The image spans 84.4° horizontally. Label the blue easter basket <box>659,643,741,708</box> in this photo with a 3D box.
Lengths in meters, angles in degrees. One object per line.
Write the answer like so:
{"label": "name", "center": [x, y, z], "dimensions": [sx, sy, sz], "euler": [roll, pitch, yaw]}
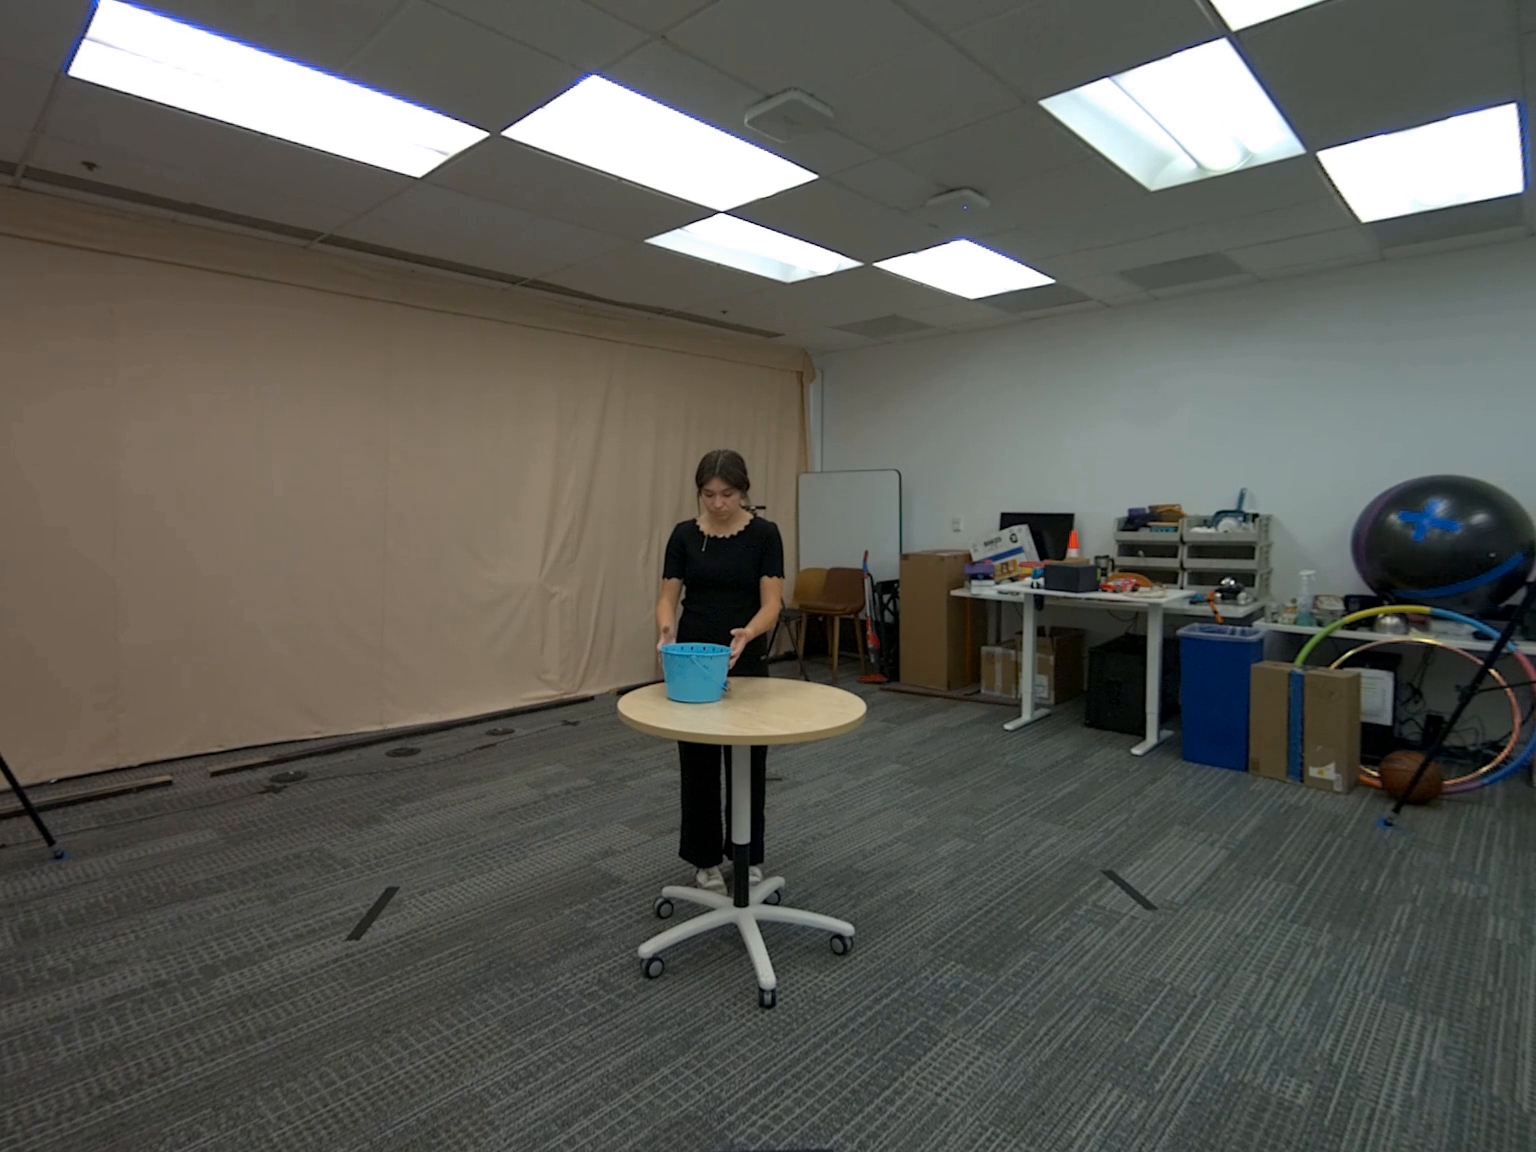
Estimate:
{"label": "blue easter basket", "center": [-0.215, 0.308, 2.669], "dimensions": [0.243, 0.155, 0.244], "euler": [1, 3, -2]}
